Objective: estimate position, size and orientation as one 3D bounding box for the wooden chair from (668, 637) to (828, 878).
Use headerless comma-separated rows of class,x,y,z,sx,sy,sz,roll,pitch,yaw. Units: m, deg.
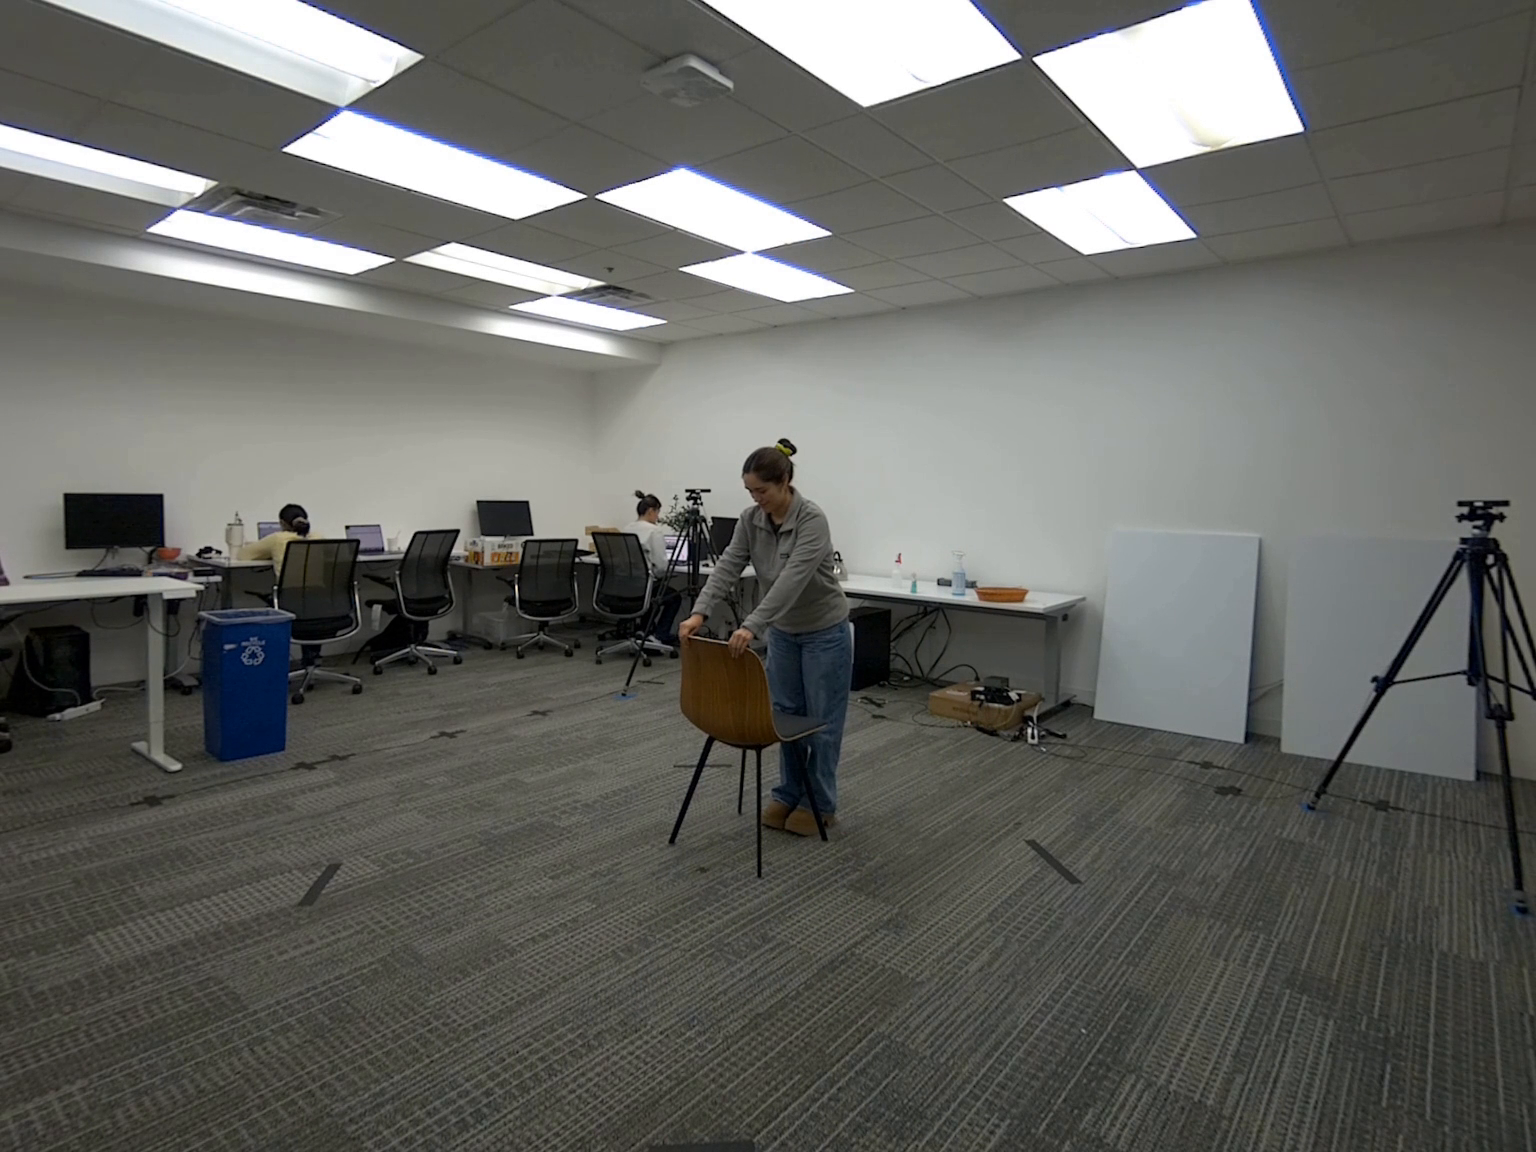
wooden chair,-0.076,0.628,3.343,0.494,0.872,0.509,4,8,38
